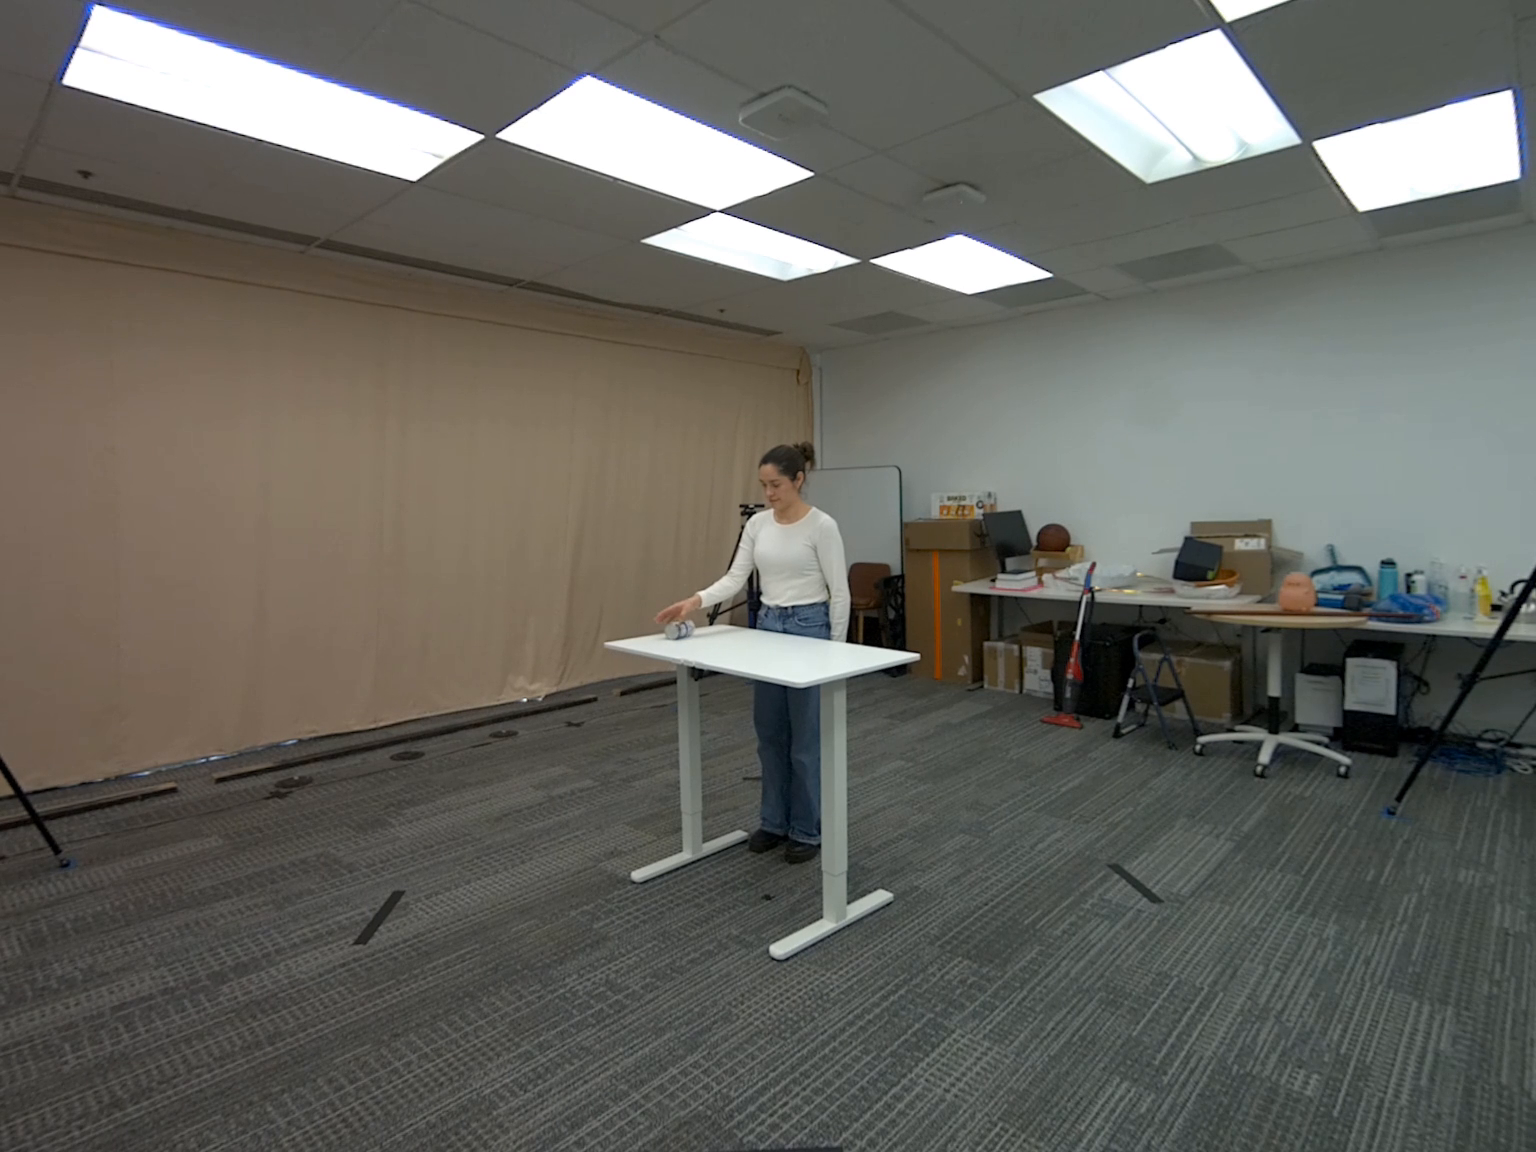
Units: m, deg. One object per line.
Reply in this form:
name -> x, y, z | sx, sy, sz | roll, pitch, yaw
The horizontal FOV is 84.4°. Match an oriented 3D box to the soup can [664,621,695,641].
soup can -> -0.341, 0.205, 3.224 | 0.120, 0.067, 0.068 | -3, 4, -8
